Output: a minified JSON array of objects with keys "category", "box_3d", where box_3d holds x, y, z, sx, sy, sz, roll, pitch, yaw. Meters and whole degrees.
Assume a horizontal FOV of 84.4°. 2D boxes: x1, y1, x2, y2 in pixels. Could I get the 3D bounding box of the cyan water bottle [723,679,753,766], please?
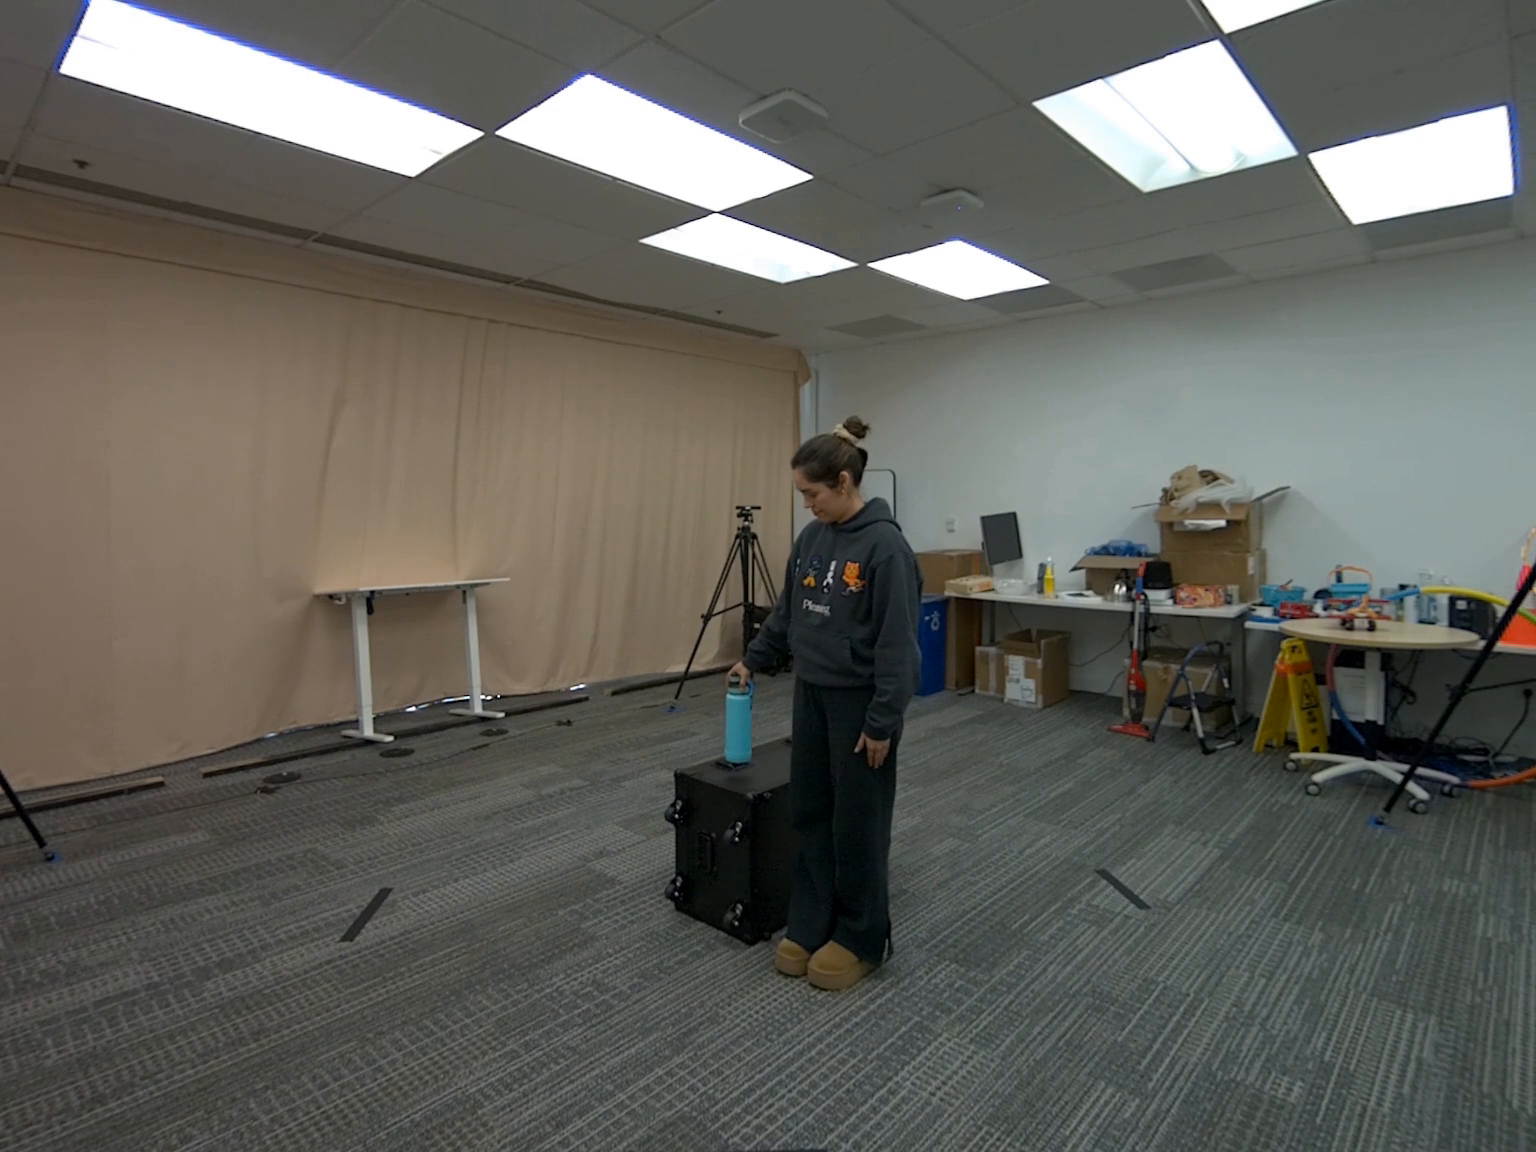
[{"category":"cyan water bottle","box_3d":[-0.079,0.478,2.824,0.092,0.283,0.093,2,4,-2]}]
